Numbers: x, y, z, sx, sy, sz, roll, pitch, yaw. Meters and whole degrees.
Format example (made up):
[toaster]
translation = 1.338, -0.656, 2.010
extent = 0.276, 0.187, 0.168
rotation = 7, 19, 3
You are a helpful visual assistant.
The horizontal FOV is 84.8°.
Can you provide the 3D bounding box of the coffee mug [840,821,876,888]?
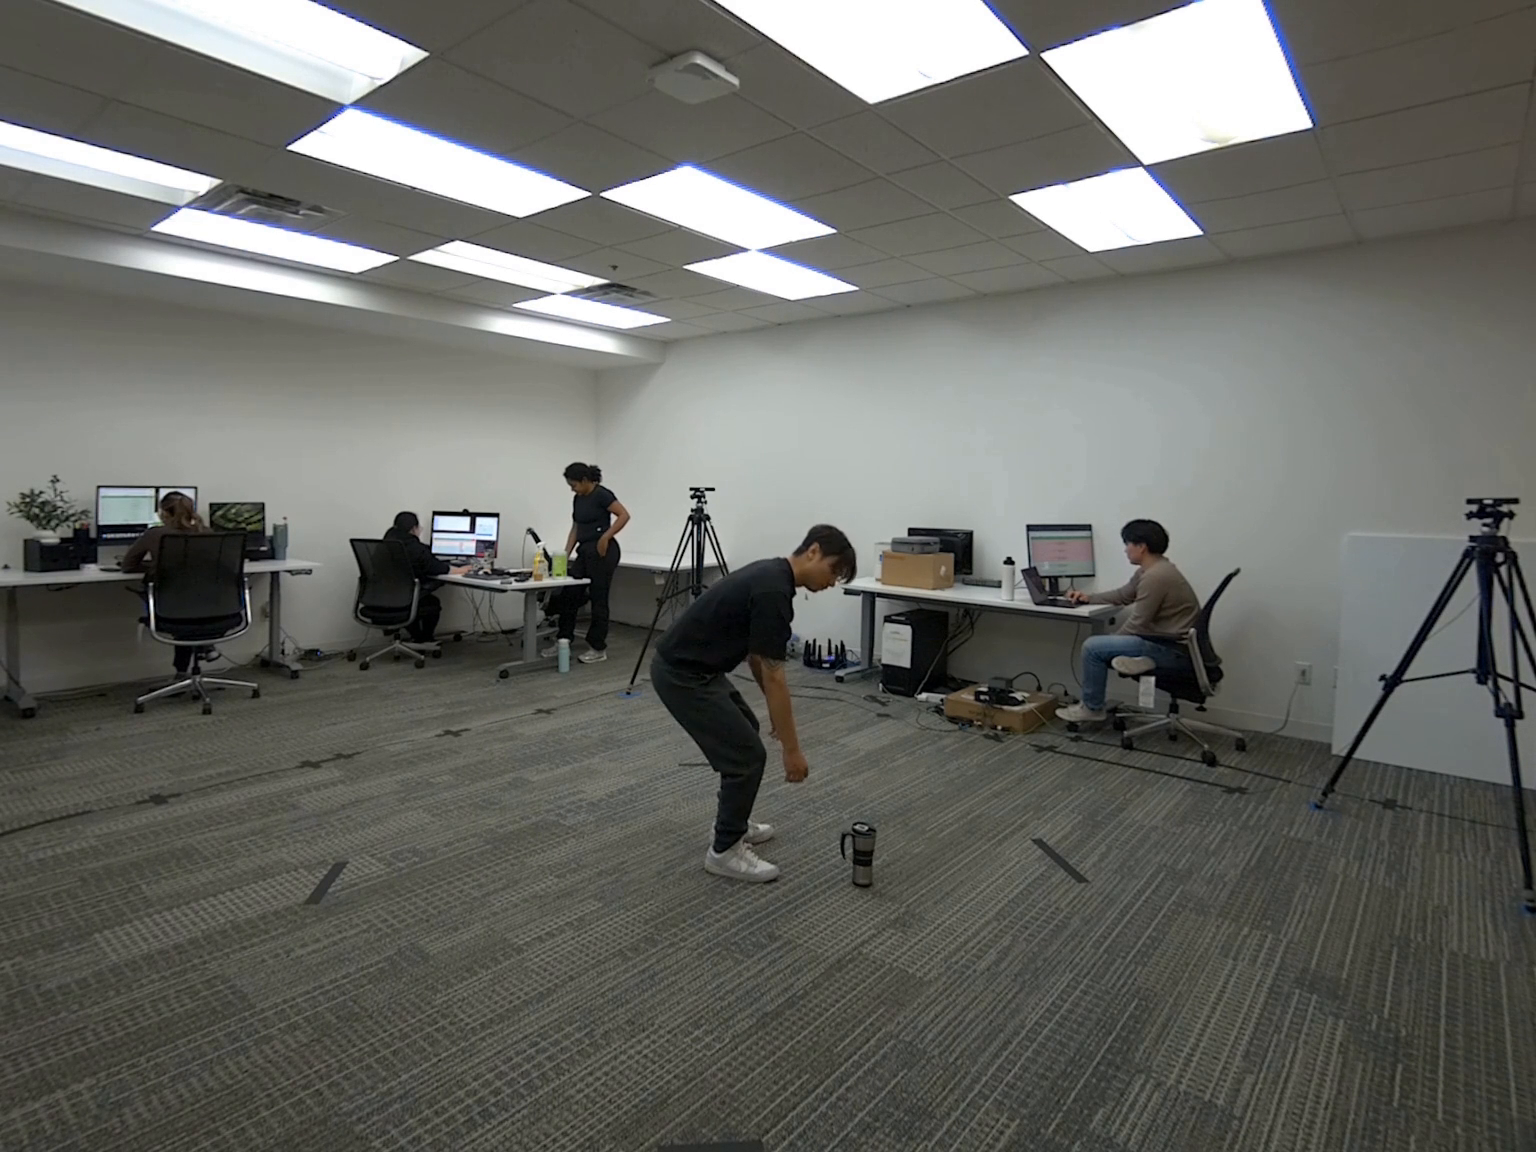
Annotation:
[coffee mug]
translation = 0.318, 0.990, 3.030
extent = 0.126, 0.202, 0.085
rotation = 10, 9, 35
